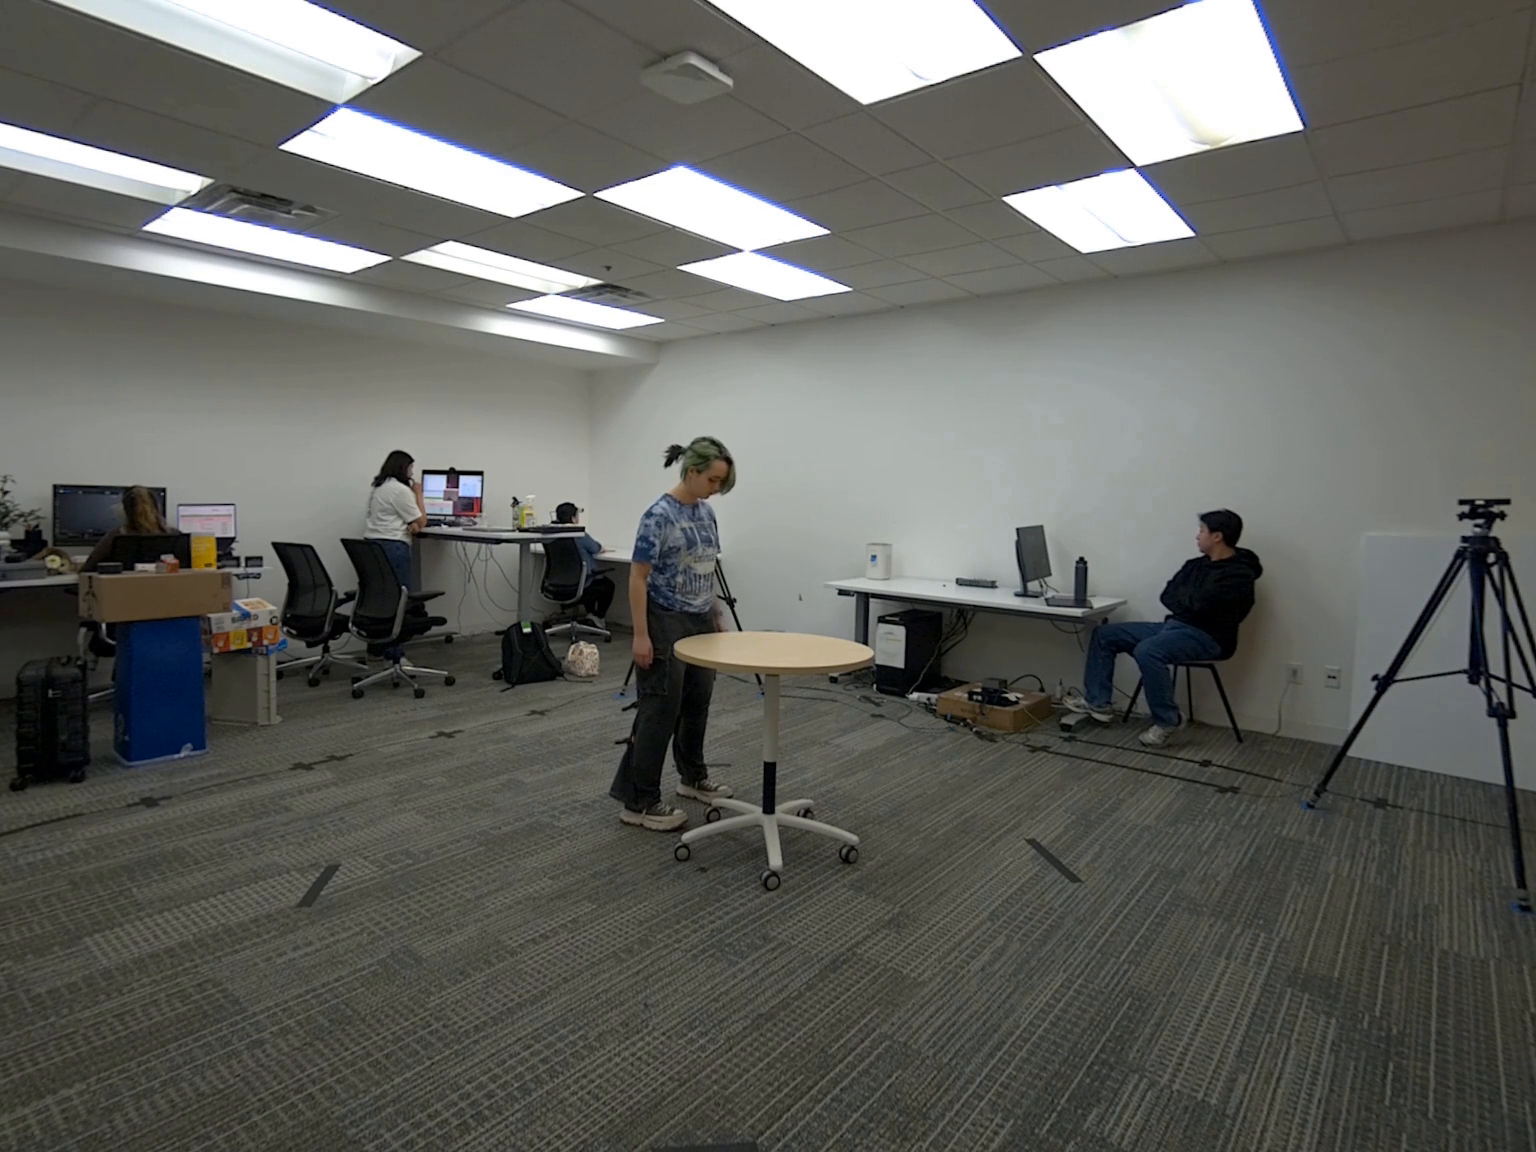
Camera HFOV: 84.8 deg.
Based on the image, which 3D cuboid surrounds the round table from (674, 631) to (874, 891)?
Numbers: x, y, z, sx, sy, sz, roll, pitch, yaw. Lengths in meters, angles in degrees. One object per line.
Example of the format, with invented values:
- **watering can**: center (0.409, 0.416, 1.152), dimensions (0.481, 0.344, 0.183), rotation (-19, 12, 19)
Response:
- **round table**: center (-0.002, 0.668, 3.288), dimensions (0.763, 0.791, 0.768), rotation (1, 4, -2)
